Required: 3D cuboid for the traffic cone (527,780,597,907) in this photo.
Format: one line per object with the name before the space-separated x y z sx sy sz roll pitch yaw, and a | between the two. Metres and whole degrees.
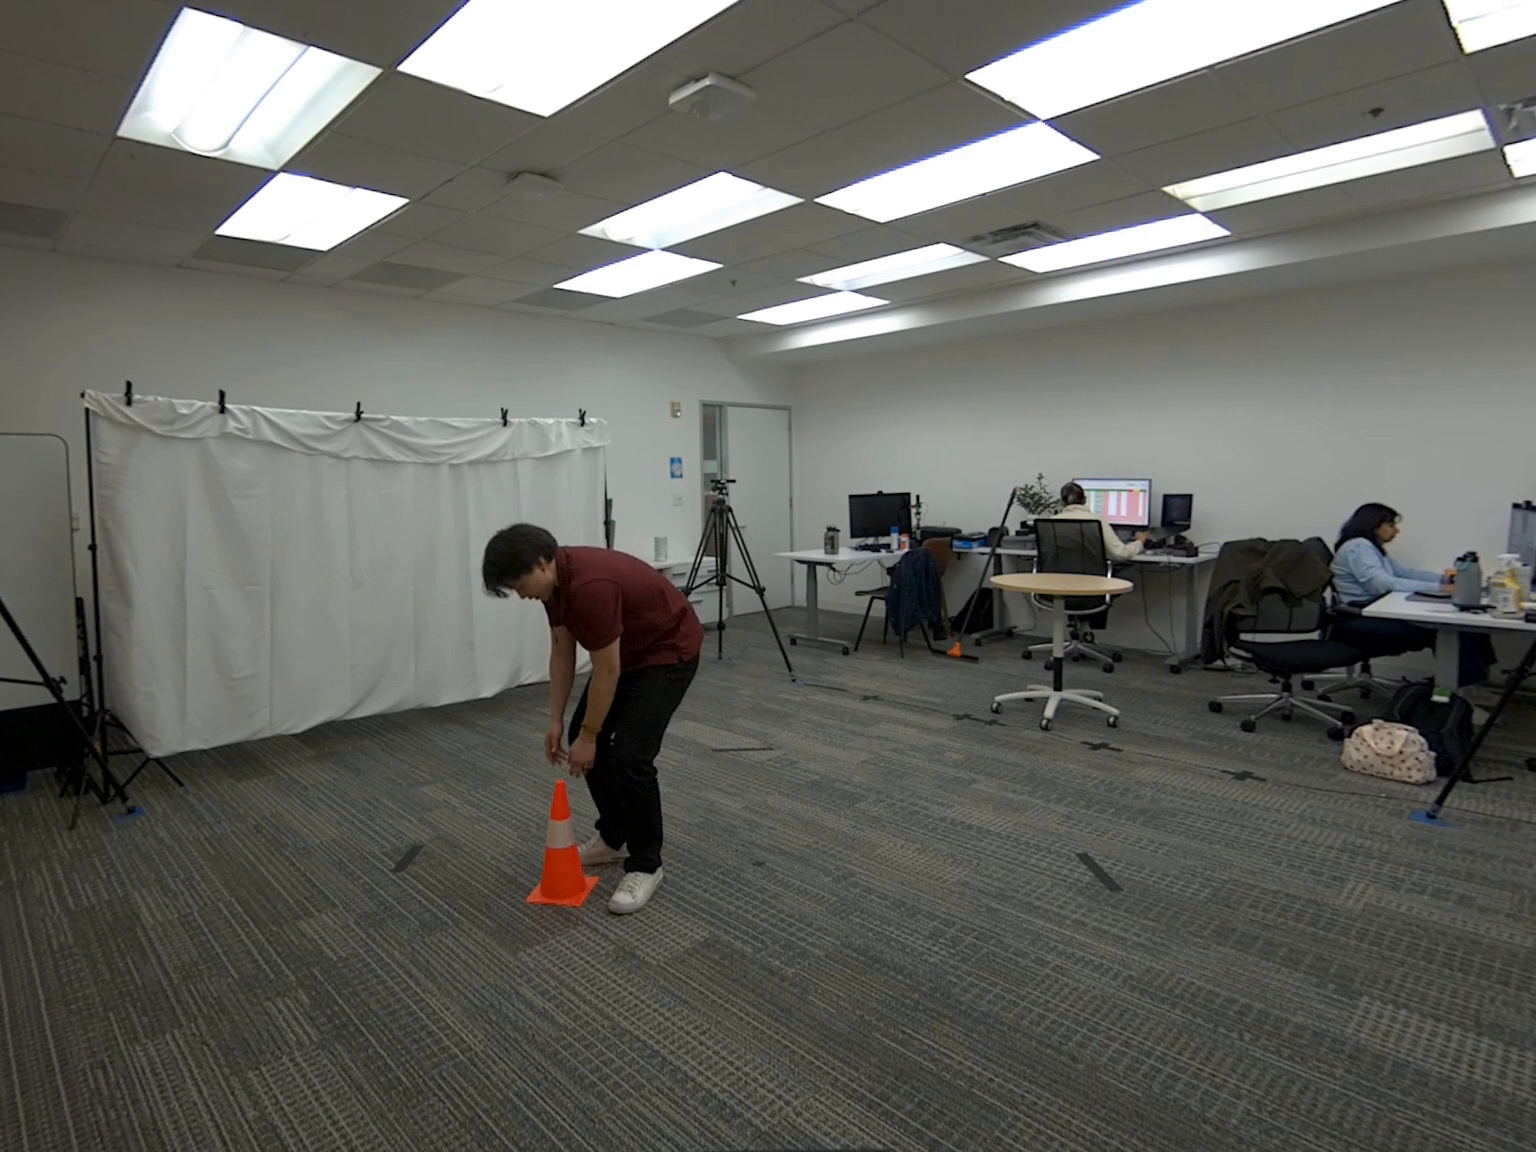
traffic cone | -0.709 0.900 2.917 0.206 0.382 0.203 -1 5 13
